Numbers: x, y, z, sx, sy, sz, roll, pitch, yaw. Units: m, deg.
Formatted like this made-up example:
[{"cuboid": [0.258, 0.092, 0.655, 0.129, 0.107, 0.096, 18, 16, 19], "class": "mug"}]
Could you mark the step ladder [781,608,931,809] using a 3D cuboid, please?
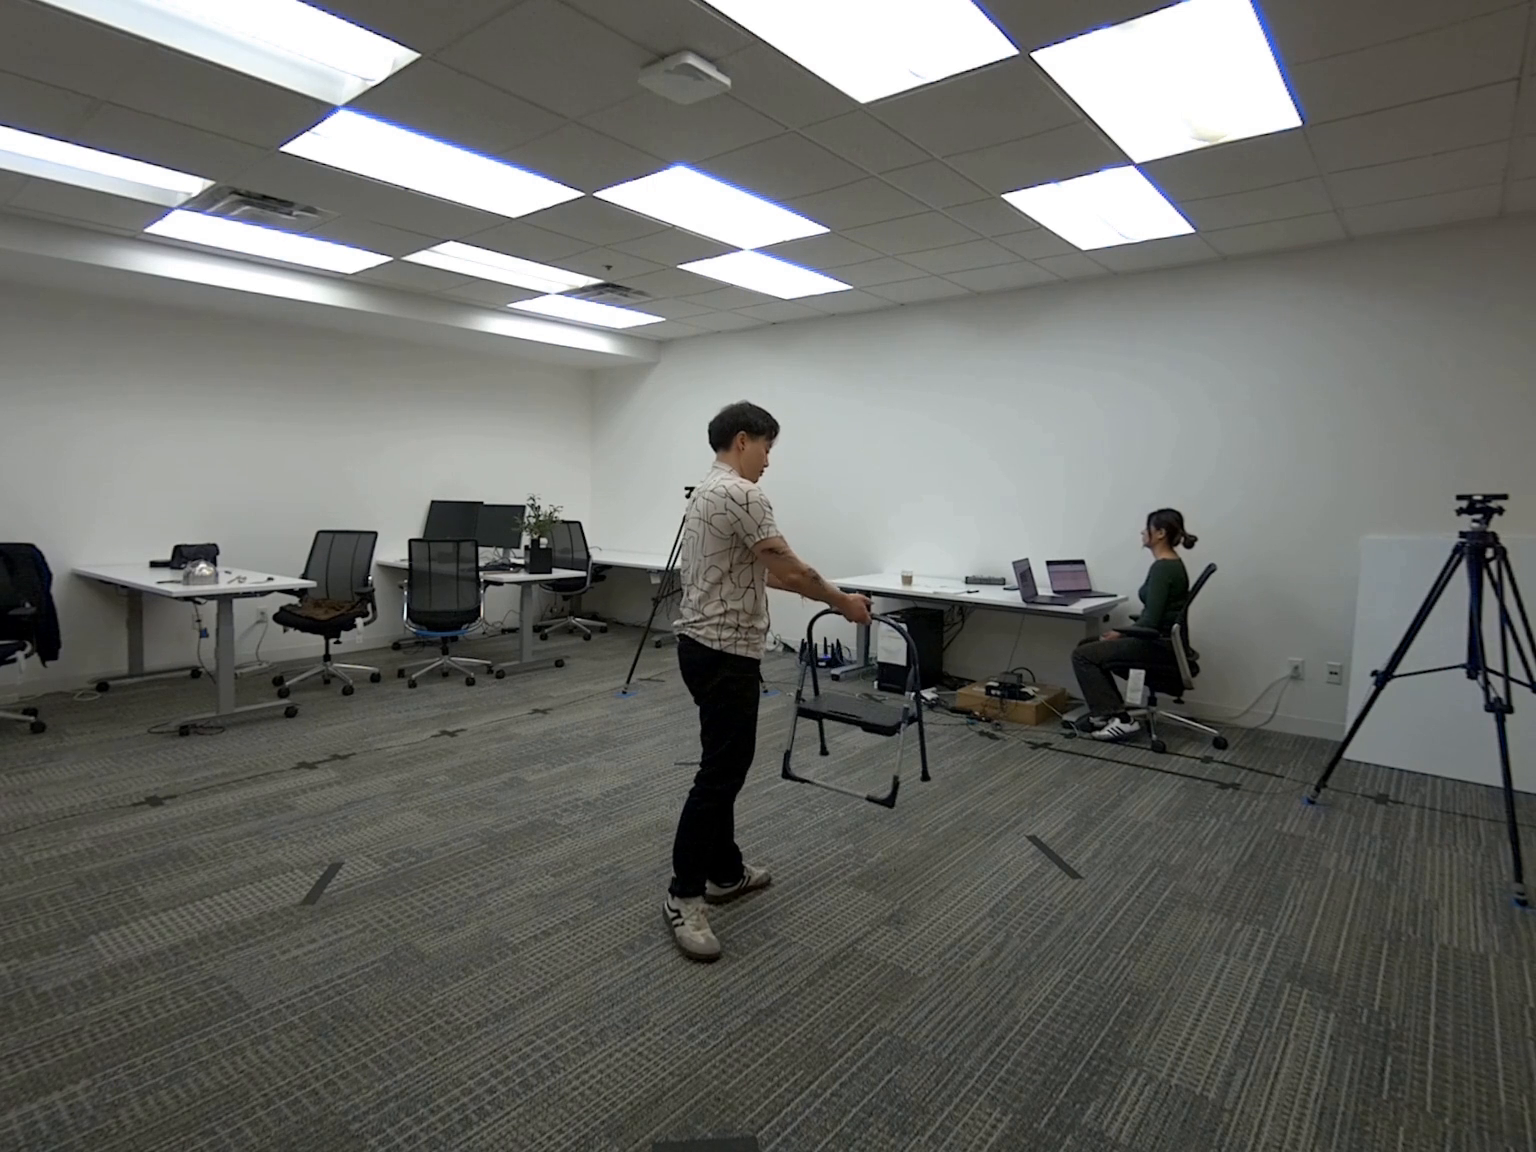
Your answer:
[{"cuboid": [0.312, 0.418, 2.942, 0.444, 0.604, 0.340, 5, 5, 31], "class": "step ladder"}]
